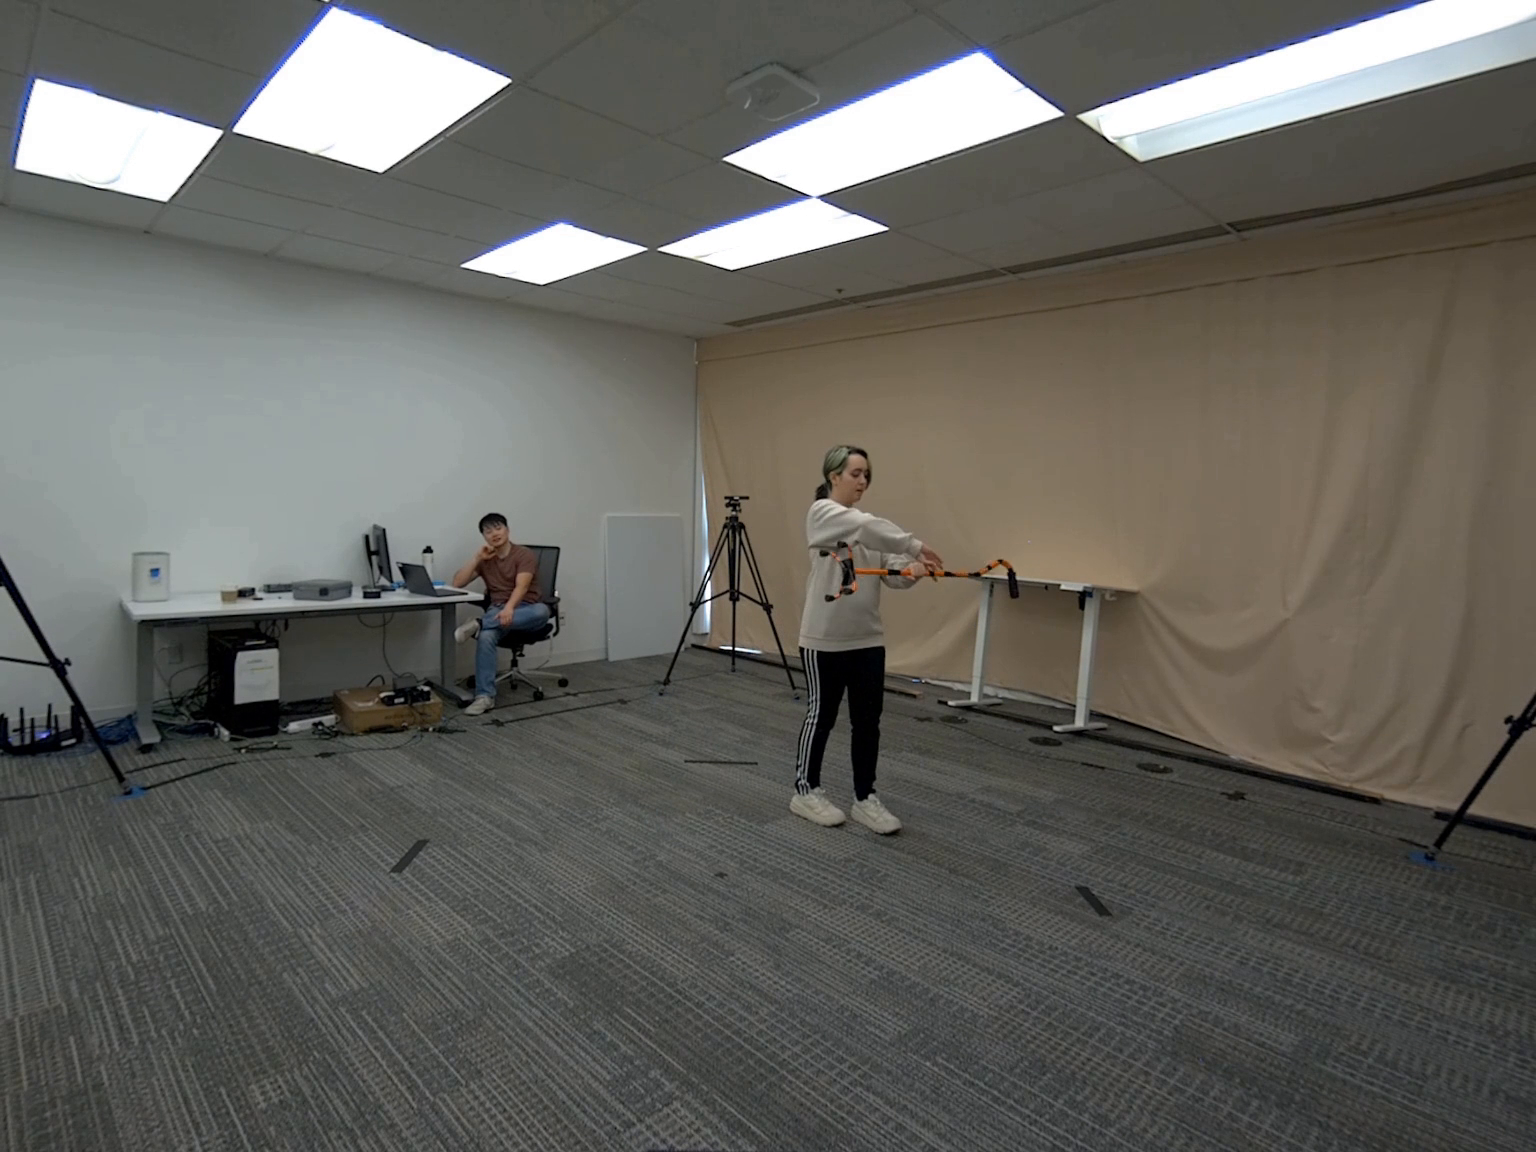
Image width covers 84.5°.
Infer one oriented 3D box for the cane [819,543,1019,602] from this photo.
[{"bbox_3d":[0.627,-0.011,3.351,0.890,0.208,0.153,2,-11,-27],"label":"cane"}]
